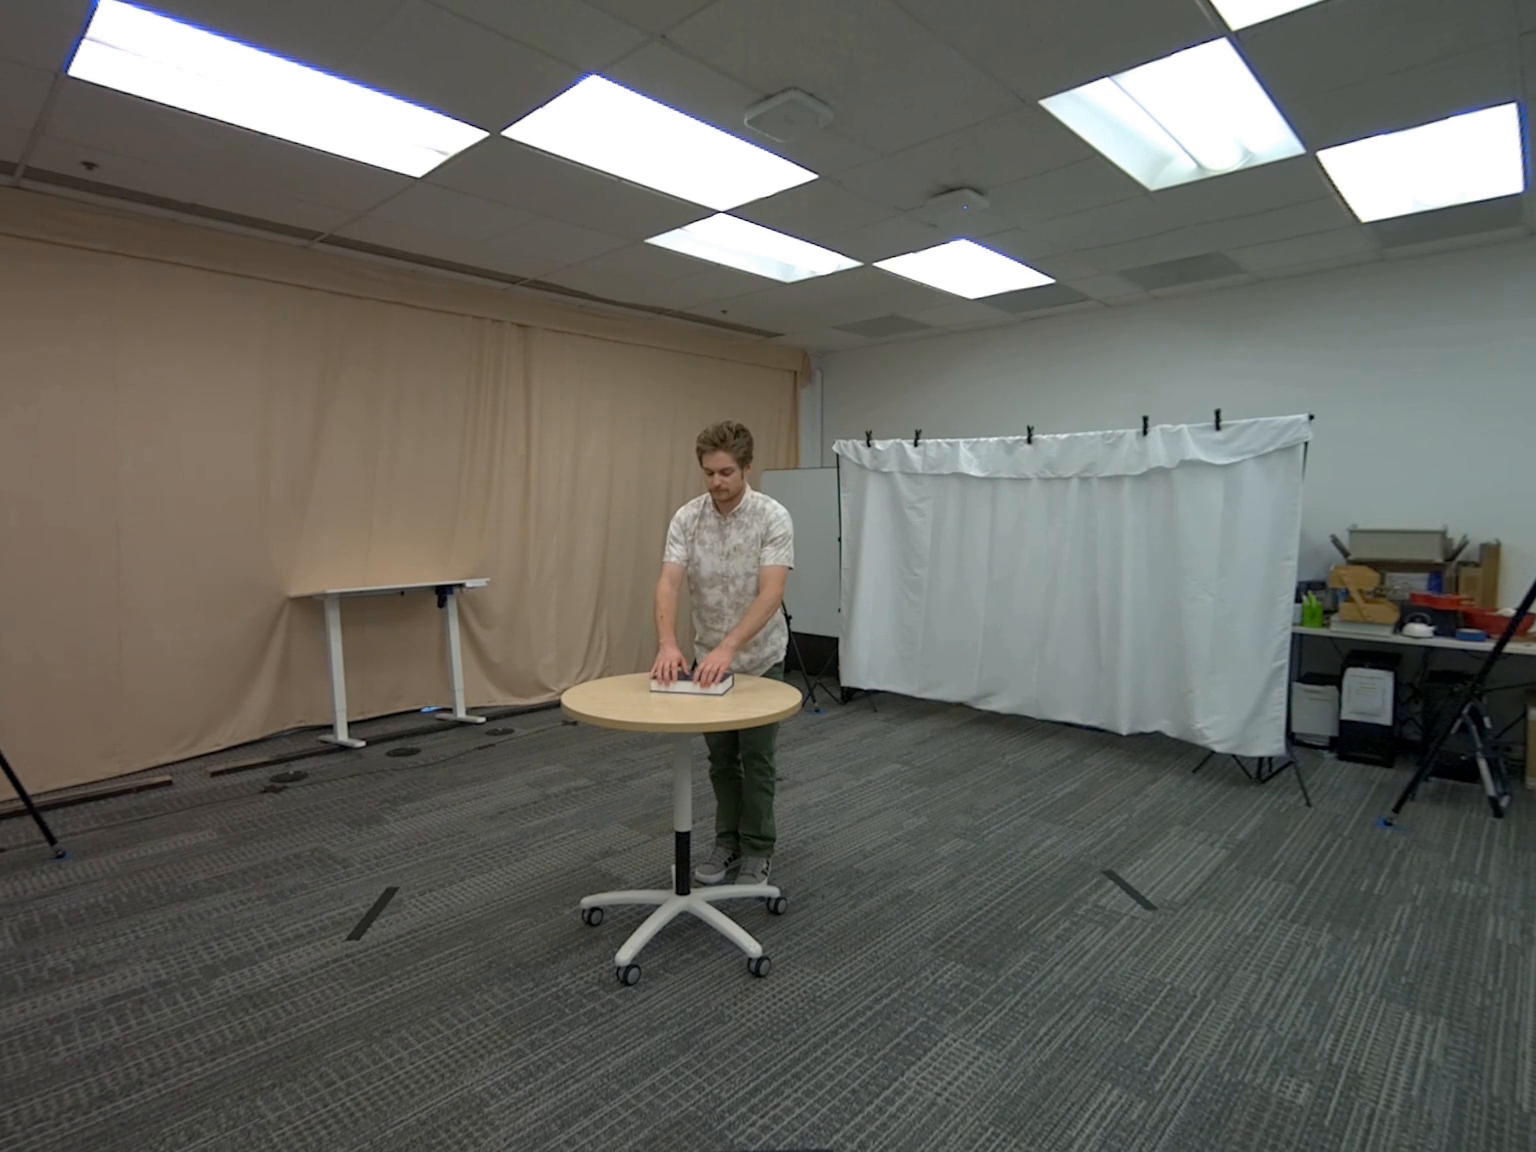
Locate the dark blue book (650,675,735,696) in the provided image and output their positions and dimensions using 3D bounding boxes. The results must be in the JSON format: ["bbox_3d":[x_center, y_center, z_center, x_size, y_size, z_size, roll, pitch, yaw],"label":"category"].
[{"bbox_3d":[-0.252,0.351,2.779,0.248,0.045,0.162,2,4,11],"label":"dark blue book"}]
